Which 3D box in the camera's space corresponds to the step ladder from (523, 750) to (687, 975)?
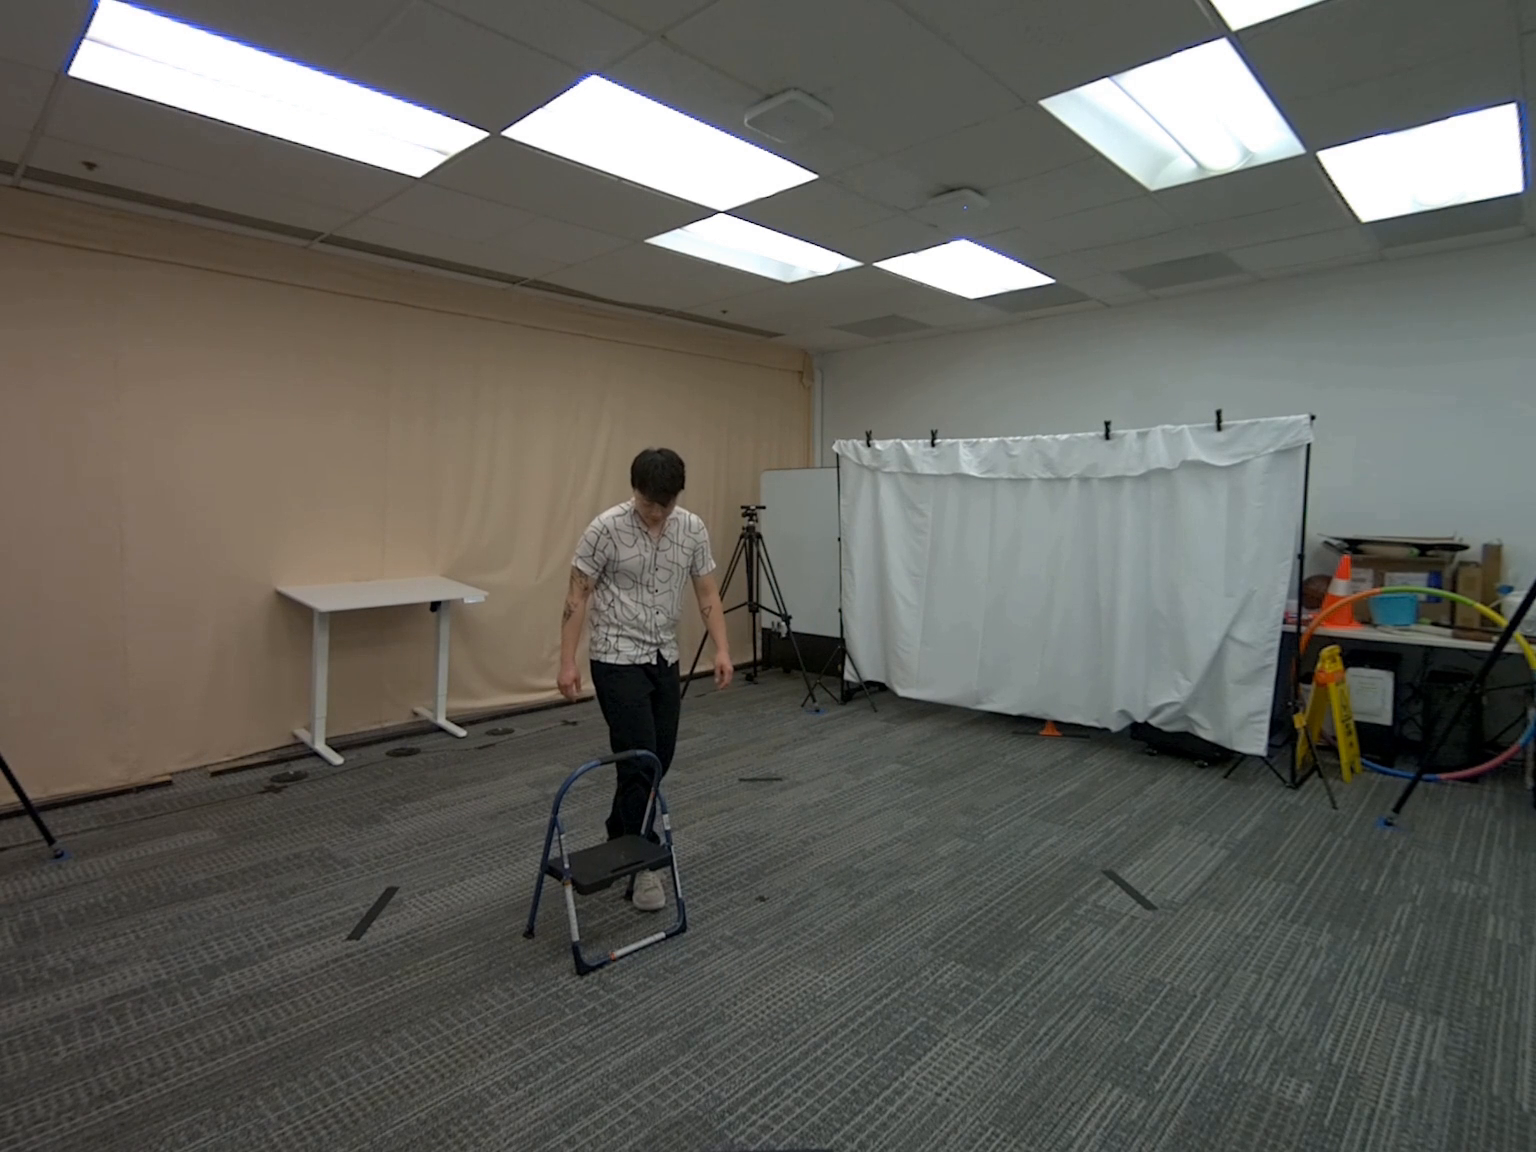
[{"bbox_3d":[-0.532,0.864,2.733,0.417,0.604,0.361,-5,5,-43],"label":"step ladder"}]
